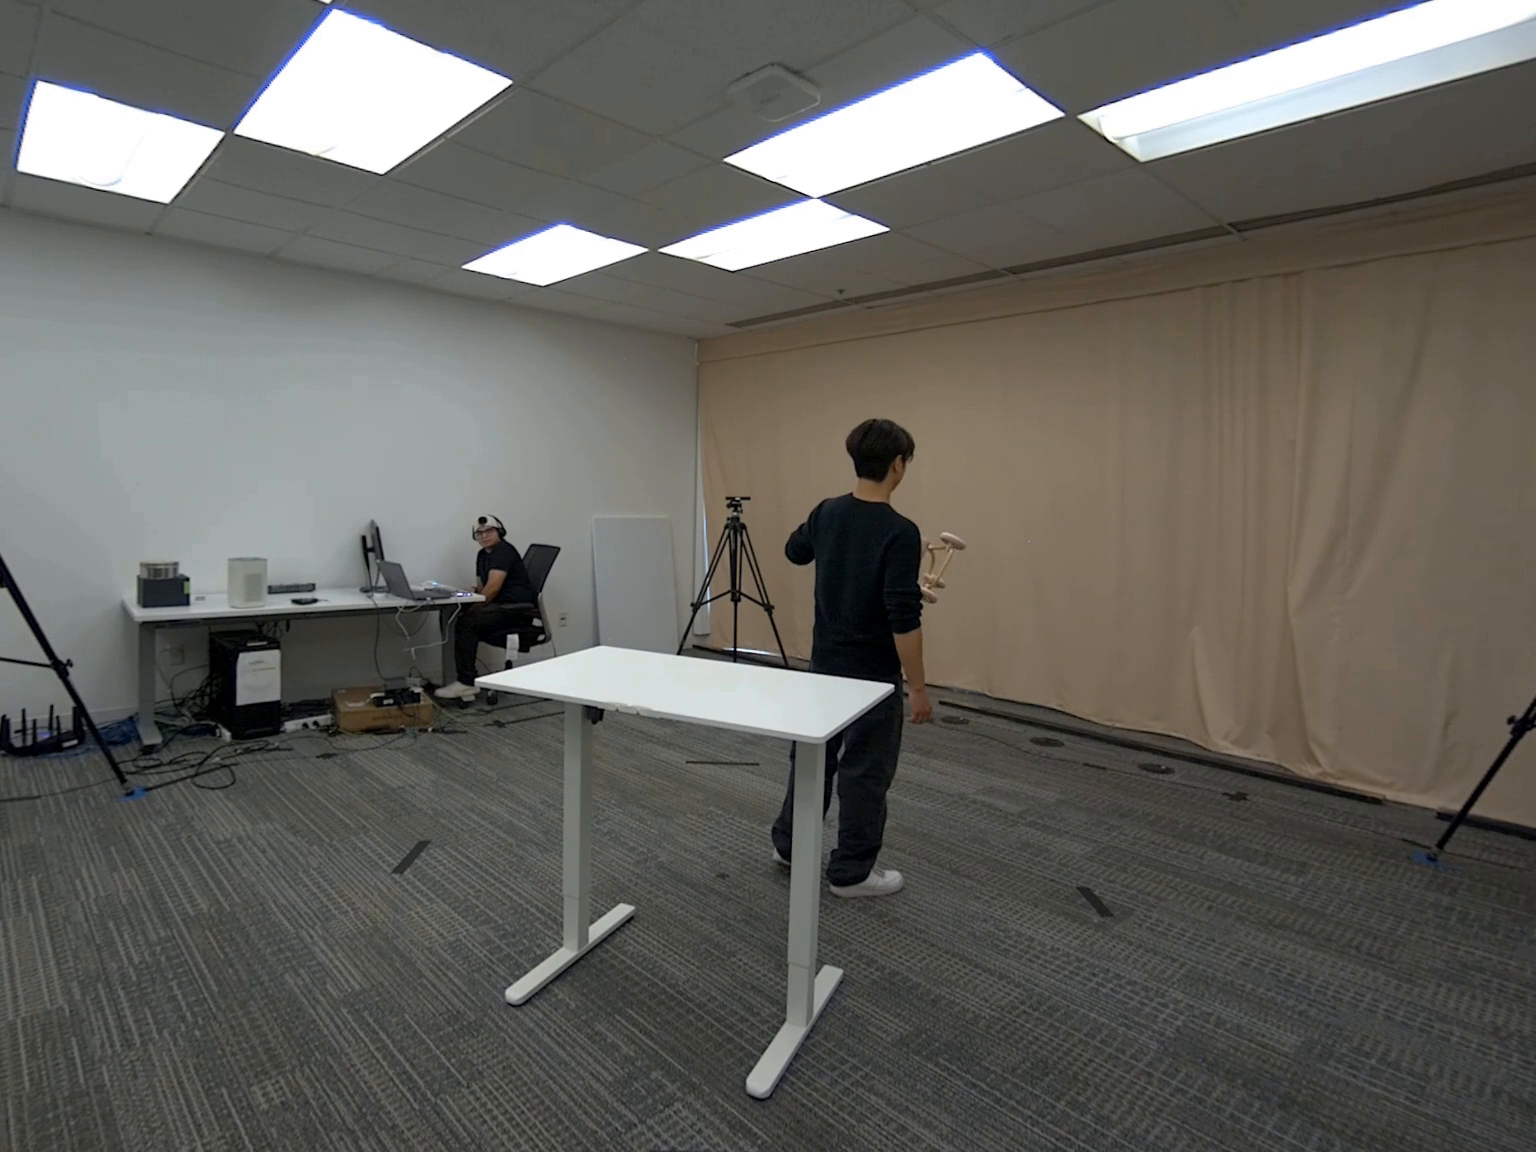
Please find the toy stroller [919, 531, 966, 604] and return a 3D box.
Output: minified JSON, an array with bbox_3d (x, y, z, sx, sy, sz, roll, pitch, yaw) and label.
[{"bbox_3d":[0.529,-0.104,3.473,0.535,0.282,0.340,31,-7,0],"label":"toy stroller"}]
